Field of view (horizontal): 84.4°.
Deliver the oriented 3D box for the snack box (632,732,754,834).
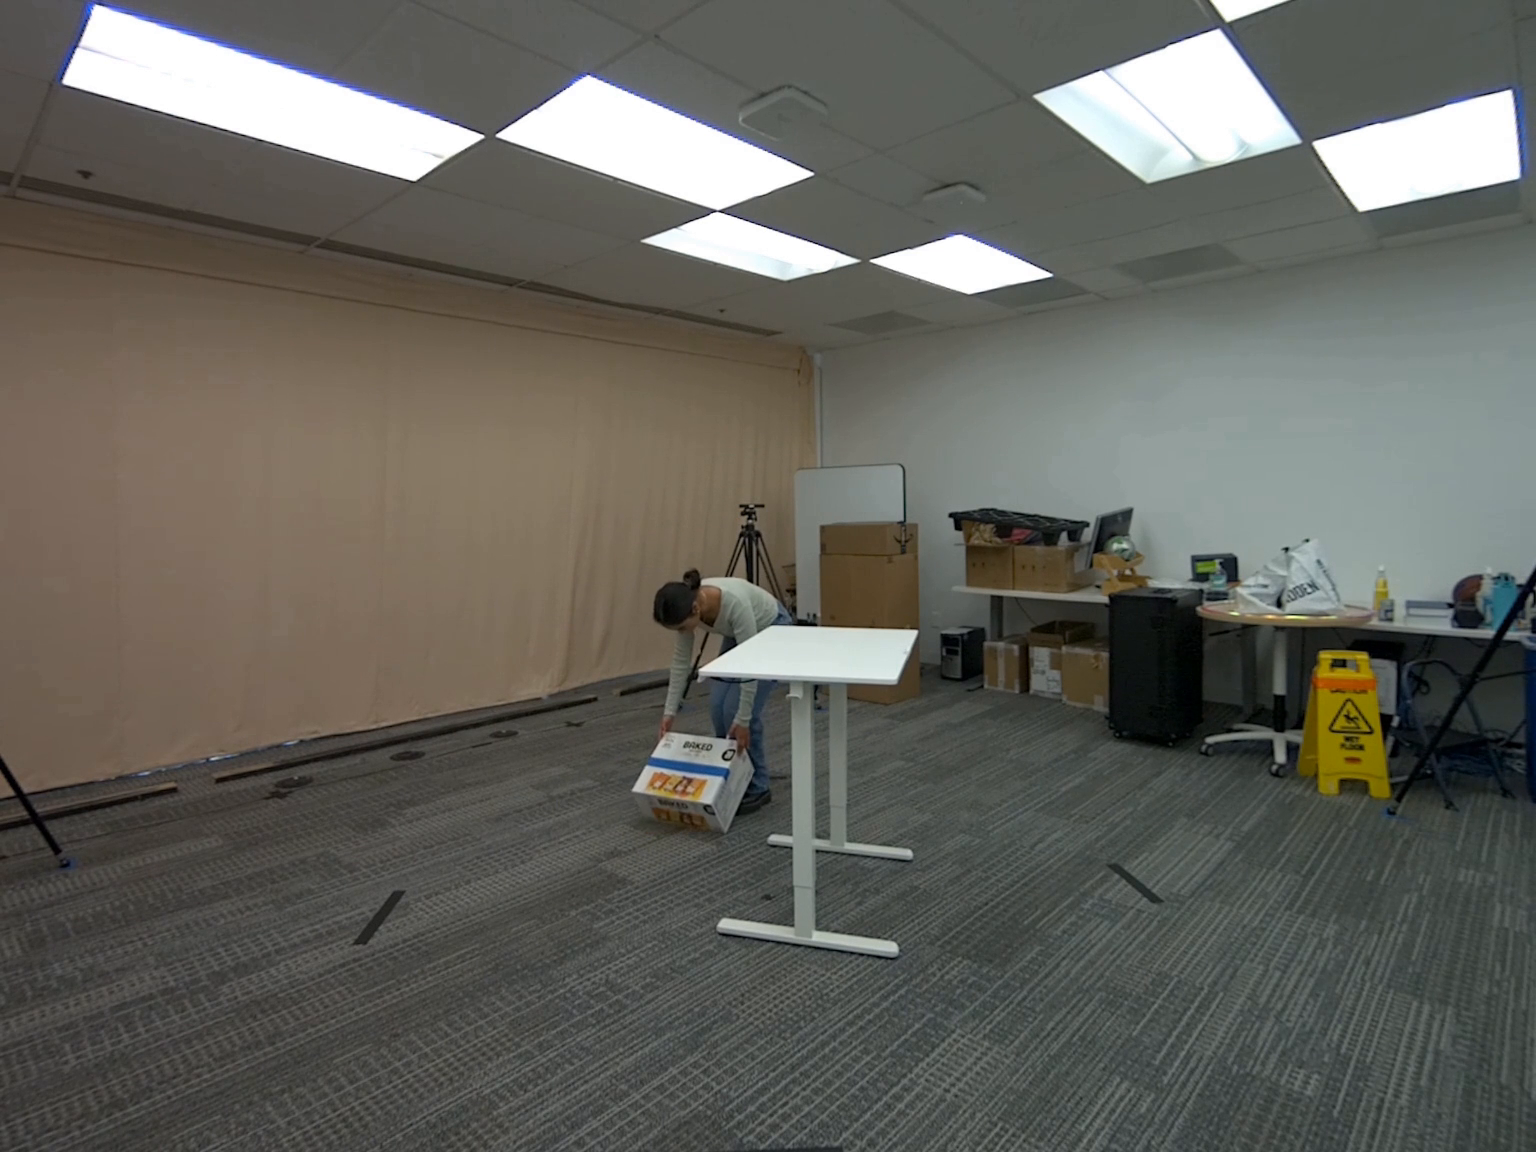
[{"bbox_3d":[-0.327,0.904,3.722,0.416,0.200,0.340,1,39,29],"label":"snack box"}]
